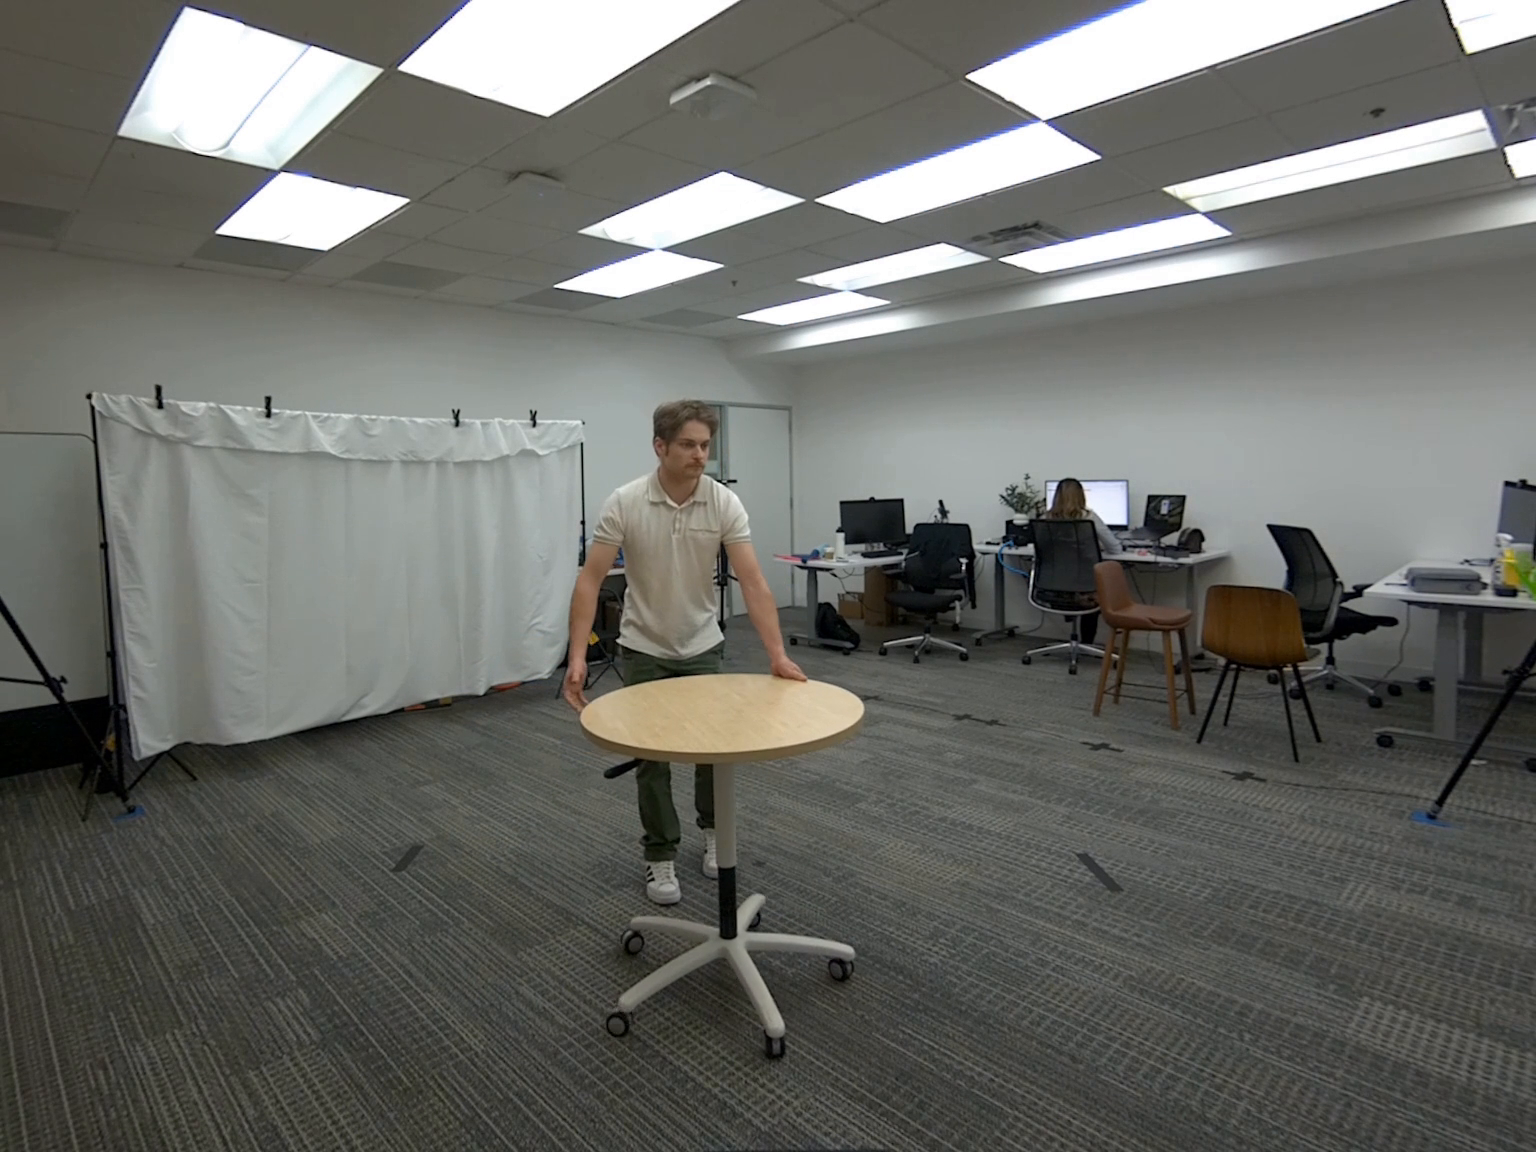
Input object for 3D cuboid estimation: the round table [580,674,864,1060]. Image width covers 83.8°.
[{"bbox_3d":[-0.113,0.746,2.348,0.763,0.790,0.768,-1,5,-2],"label":"round table"}]
